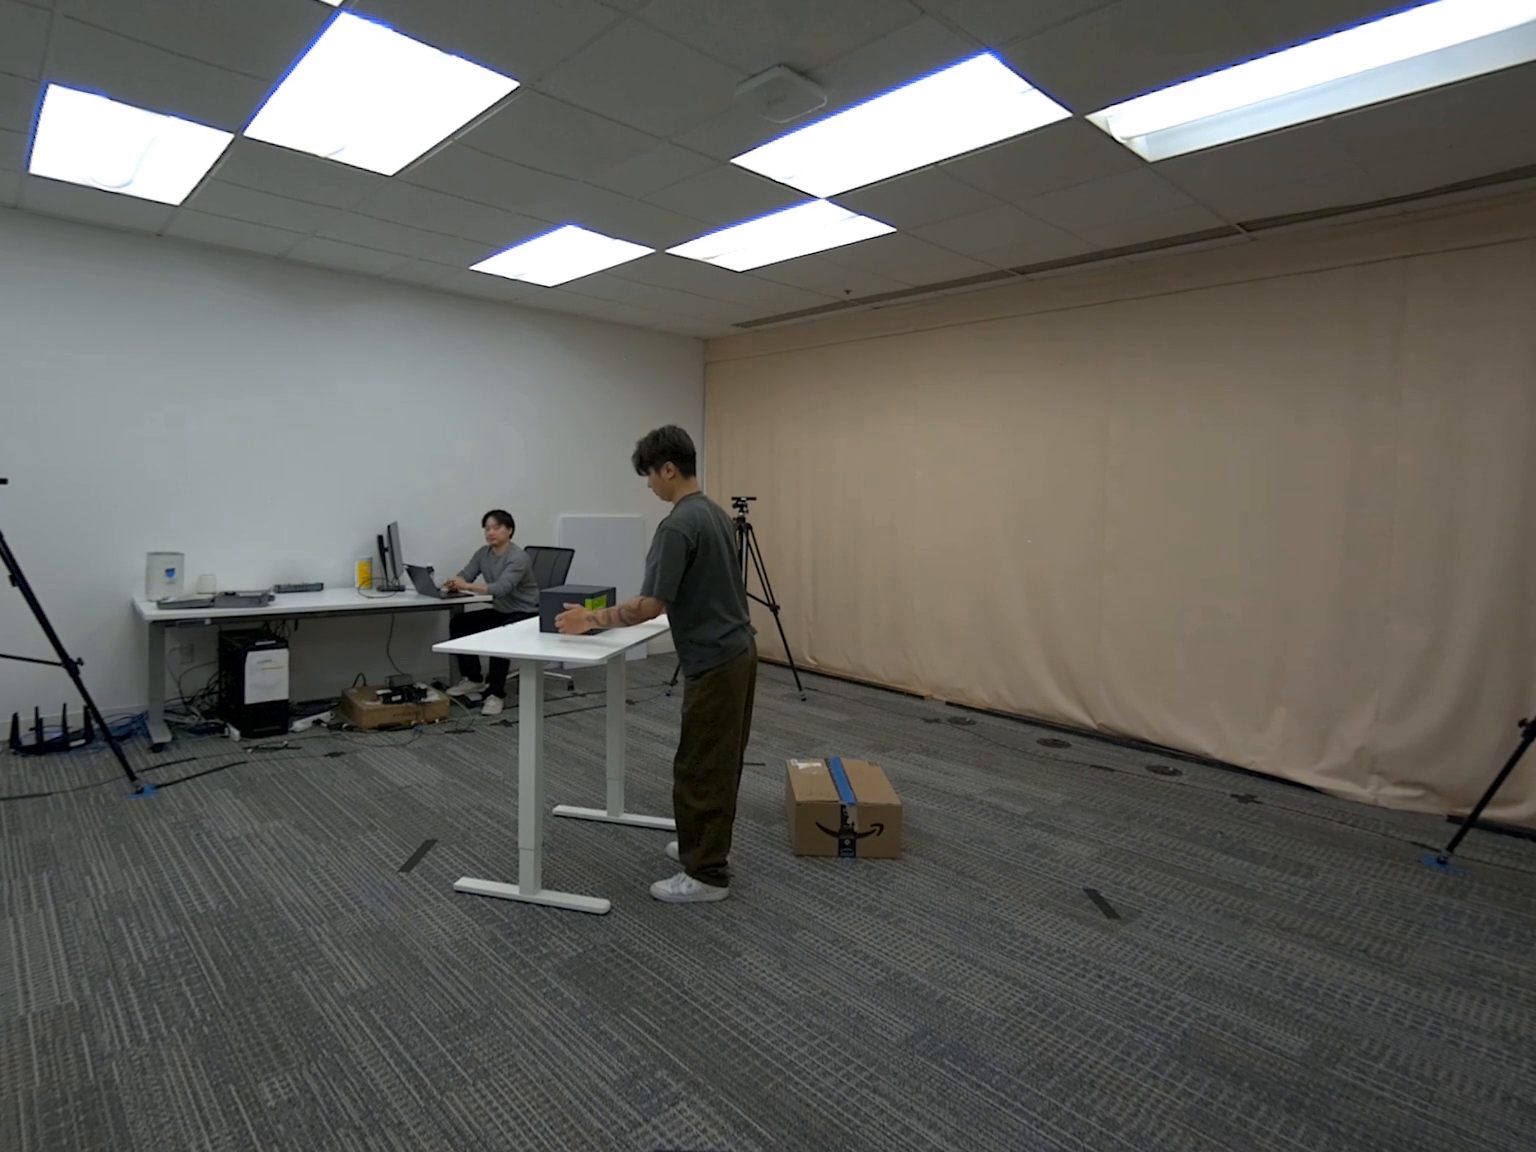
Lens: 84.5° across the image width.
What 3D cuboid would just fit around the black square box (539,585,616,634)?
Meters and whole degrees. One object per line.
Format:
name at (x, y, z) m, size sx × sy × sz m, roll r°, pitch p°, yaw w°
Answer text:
black square box at (-0.724, 0.124, 3.183) m, size 0.219 × 0.155 × 0.226 m, roll 3°, pitch 6°, yaw 14°
